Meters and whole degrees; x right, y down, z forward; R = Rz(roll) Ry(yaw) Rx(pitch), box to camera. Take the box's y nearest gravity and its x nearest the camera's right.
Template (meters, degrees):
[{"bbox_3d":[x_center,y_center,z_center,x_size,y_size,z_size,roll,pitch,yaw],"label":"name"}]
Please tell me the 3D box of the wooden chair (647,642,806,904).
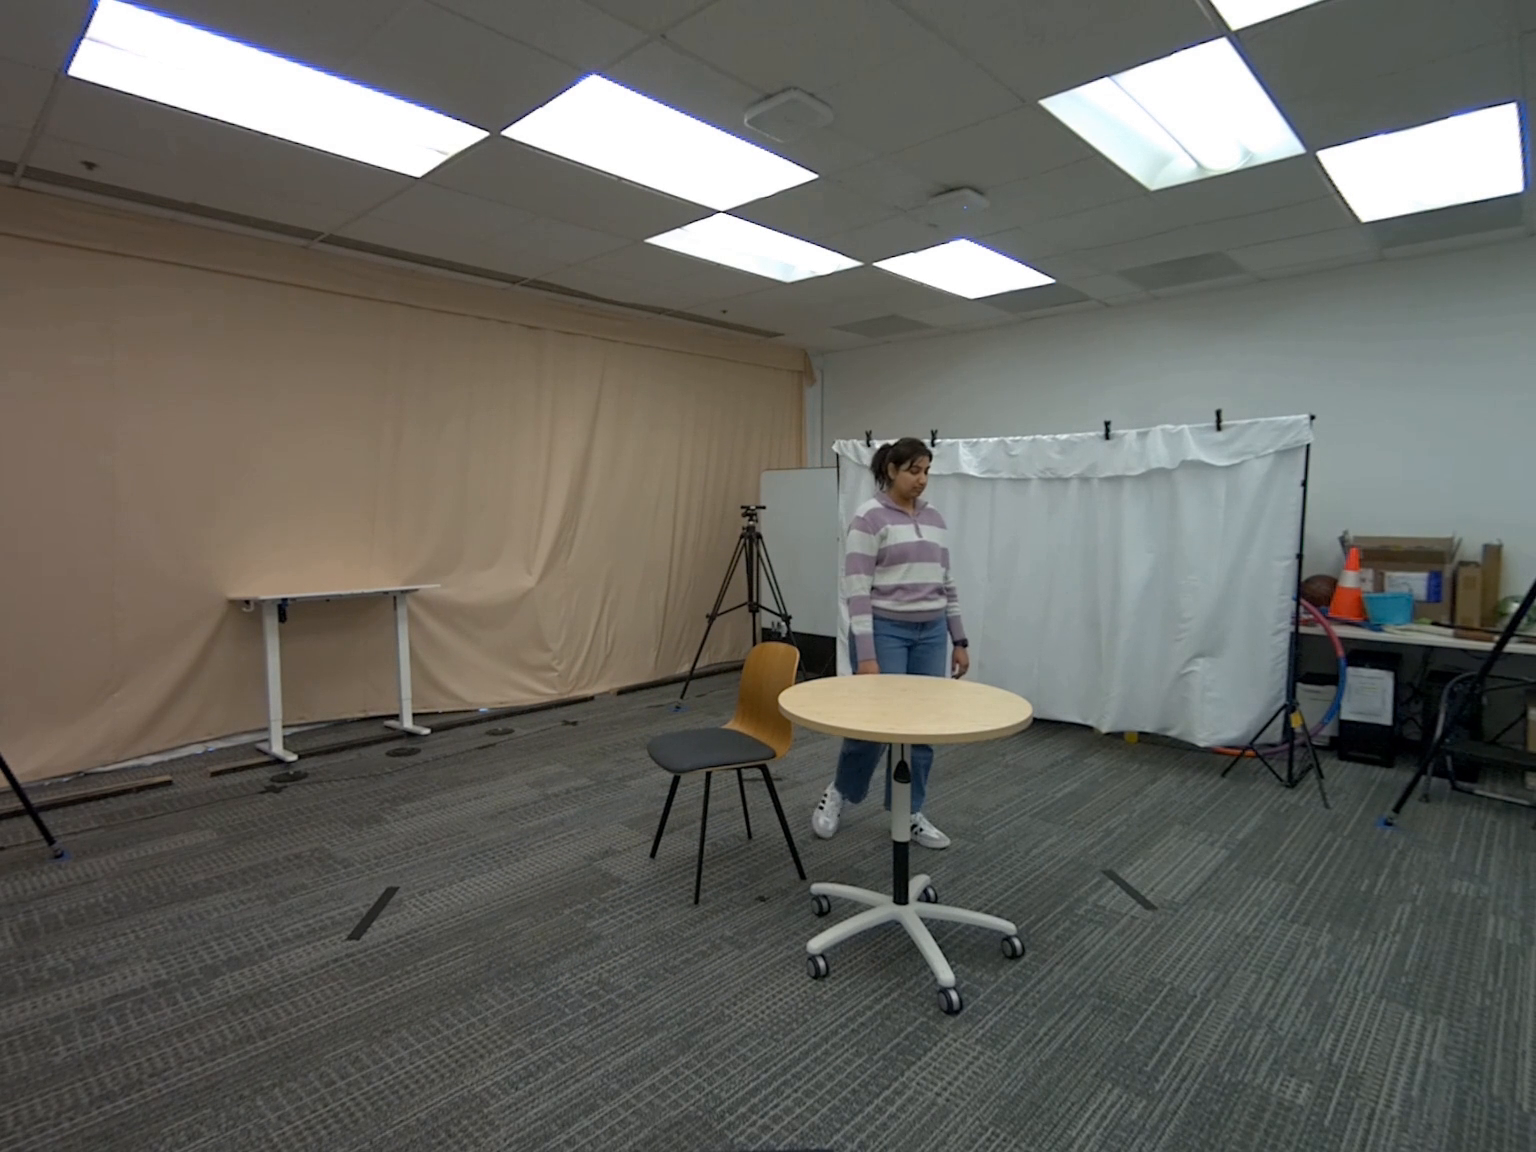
[{"bbox_3d":[-0.170,0.698,3.199,0.509,0.876,0.491,3,2,-27],"label":"wooden chair"}]
